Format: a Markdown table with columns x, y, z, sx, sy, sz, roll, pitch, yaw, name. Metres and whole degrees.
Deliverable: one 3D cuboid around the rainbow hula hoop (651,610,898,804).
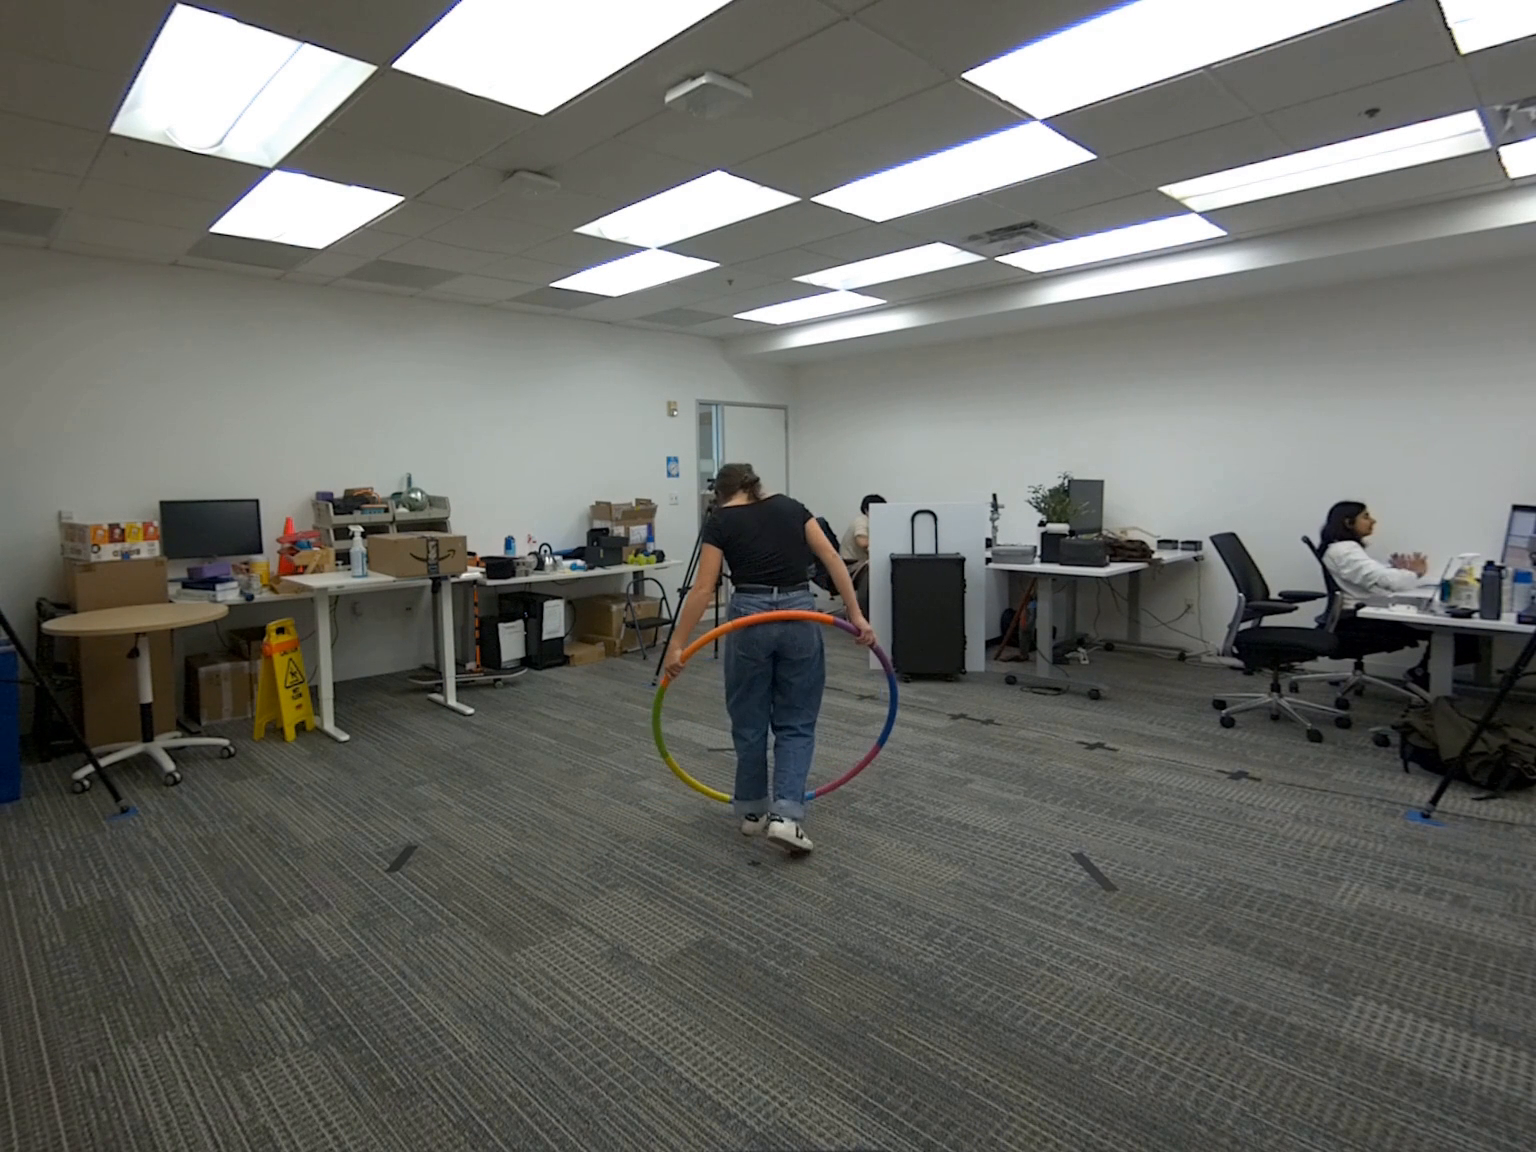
| x | y | z | sx | sy | sz | roll | pitch | yaw | name |
| --- | --- | --- | --- | --- | --- | --- | --- | --- | --- |
| 0.034 | 0.544 | 3.365 | 0.973 | 0.956 | 0.036 | -1 | 31 | -6 | rainbow hula hoop |
